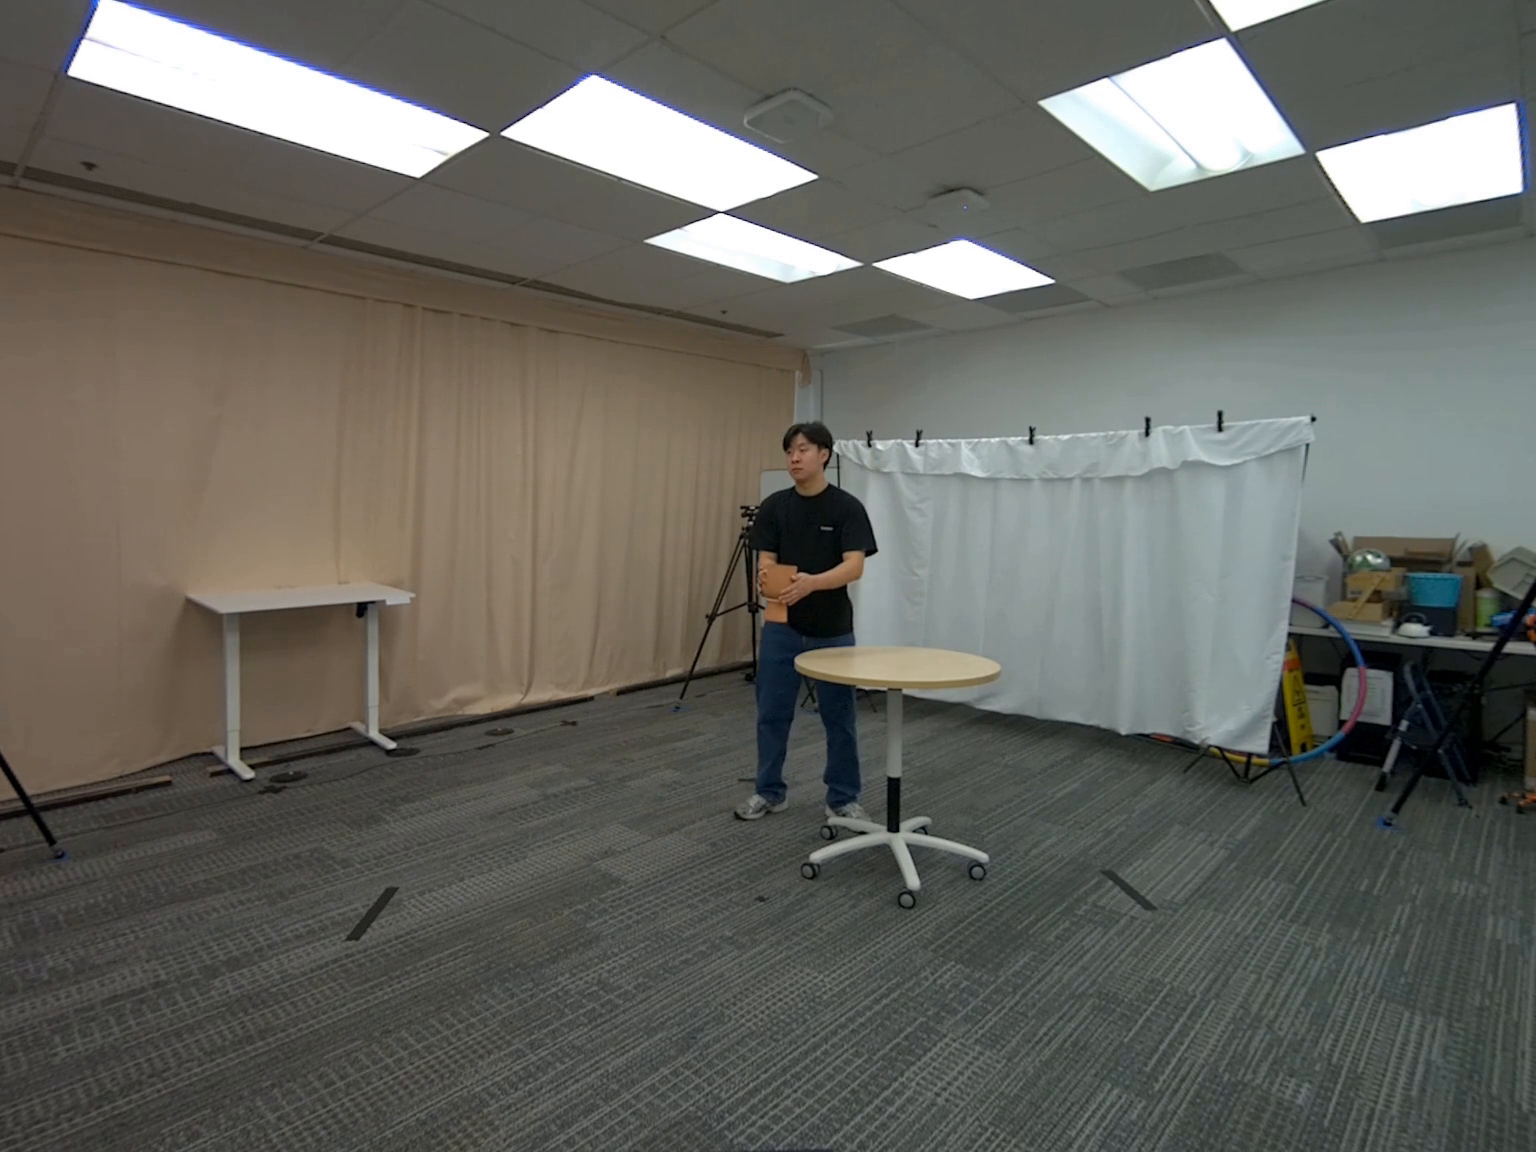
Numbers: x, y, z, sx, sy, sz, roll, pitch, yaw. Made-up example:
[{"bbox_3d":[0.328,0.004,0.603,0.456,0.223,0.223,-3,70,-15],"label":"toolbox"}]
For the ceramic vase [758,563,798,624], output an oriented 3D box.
[{"bbox_3d":[0.041,0.066,3.332,0.160,0.219,0.134,5,1,6],"label":"ceramic vase"}]
